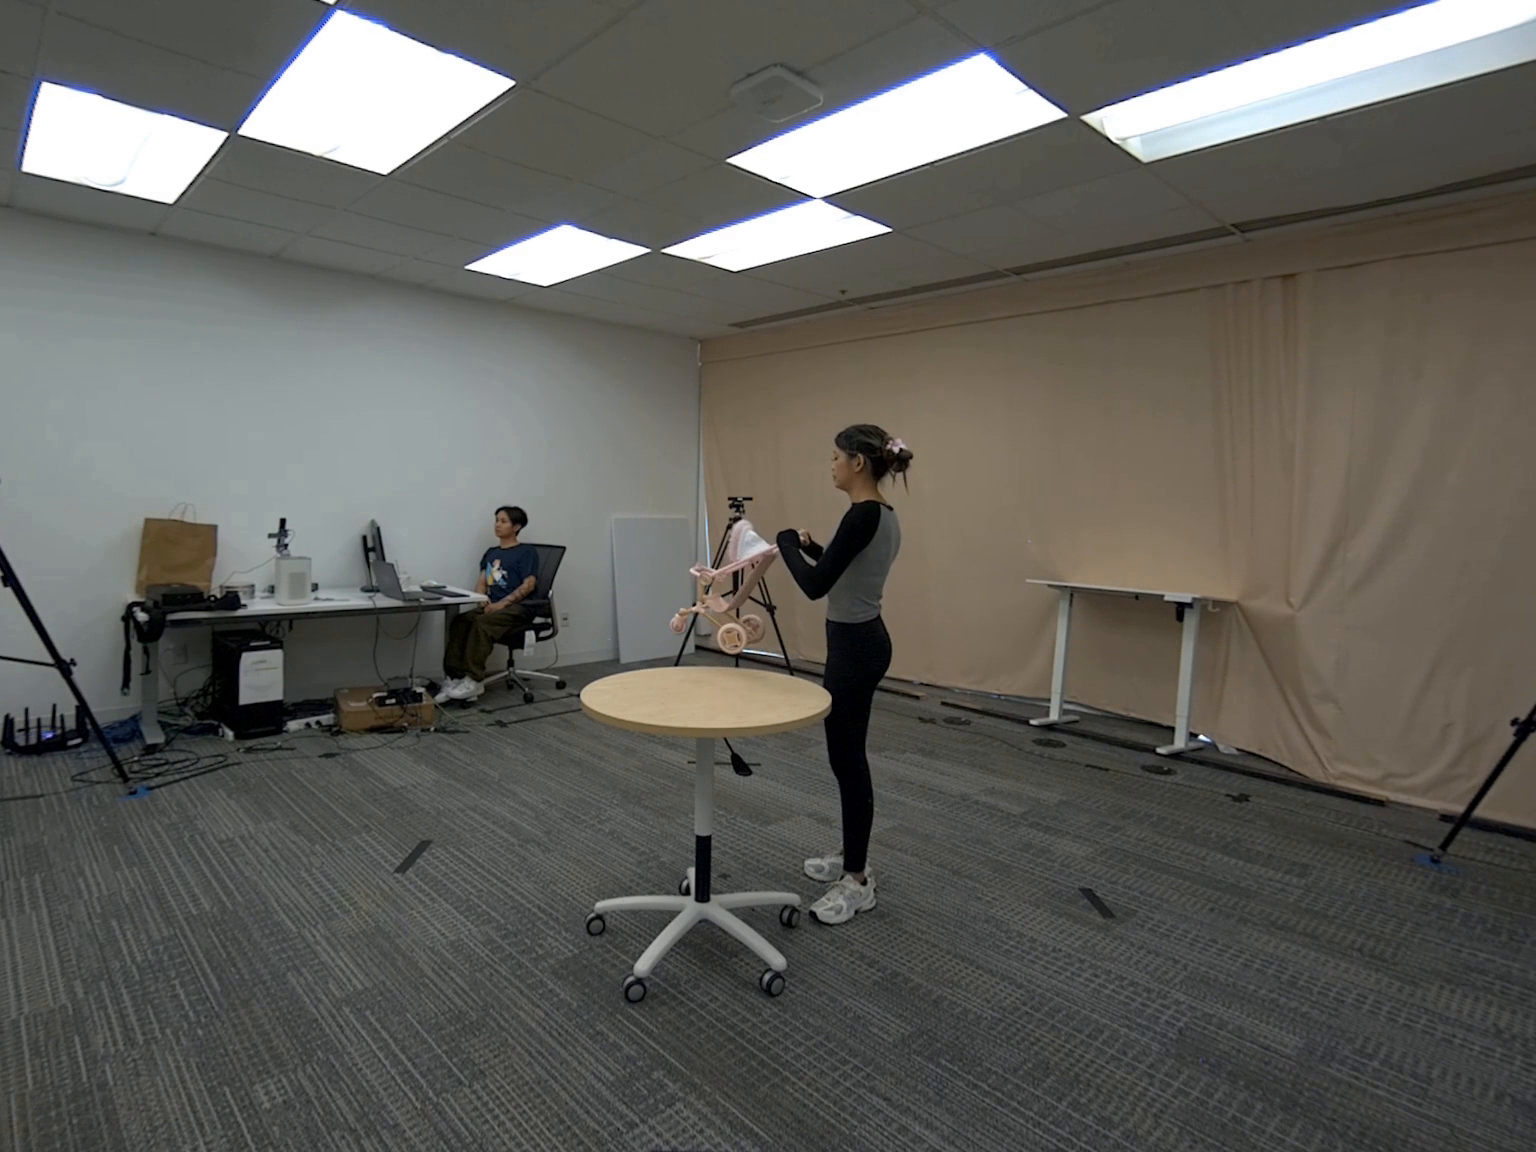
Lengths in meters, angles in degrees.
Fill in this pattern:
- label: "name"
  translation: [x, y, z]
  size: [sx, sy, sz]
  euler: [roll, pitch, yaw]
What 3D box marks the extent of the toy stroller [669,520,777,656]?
- label: "toy stroller"
  translation: [-0.136, 0.031, 3.092]
  size: [0.348, 0.533, 0.277]
  euler: [25, 11, 18]
